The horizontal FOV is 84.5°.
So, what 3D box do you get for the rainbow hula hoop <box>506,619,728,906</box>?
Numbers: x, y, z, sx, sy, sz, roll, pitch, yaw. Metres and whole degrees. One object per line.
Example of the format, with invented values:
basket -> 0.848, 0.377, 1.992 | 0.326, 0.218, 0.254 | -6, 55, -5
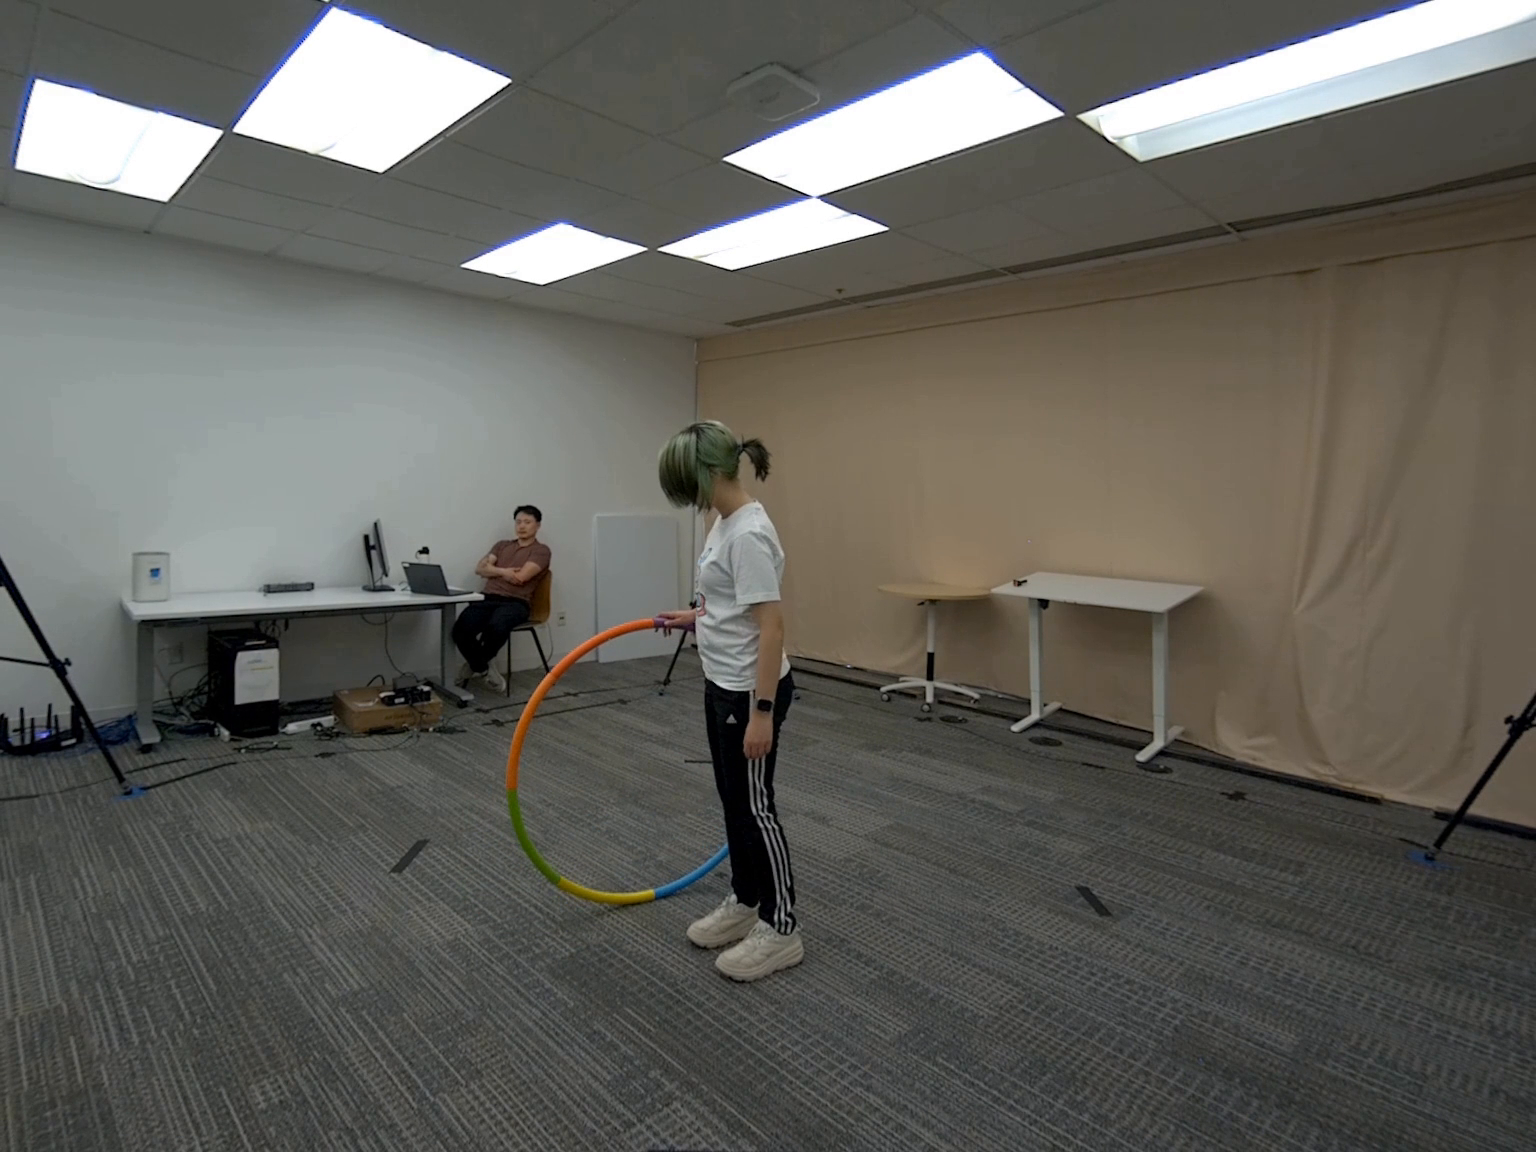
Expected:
rainbow hula hoop -> -0.394, 0.631, 2.850 | 0.959, 0.974, 0.036 | -1, 7, -30
